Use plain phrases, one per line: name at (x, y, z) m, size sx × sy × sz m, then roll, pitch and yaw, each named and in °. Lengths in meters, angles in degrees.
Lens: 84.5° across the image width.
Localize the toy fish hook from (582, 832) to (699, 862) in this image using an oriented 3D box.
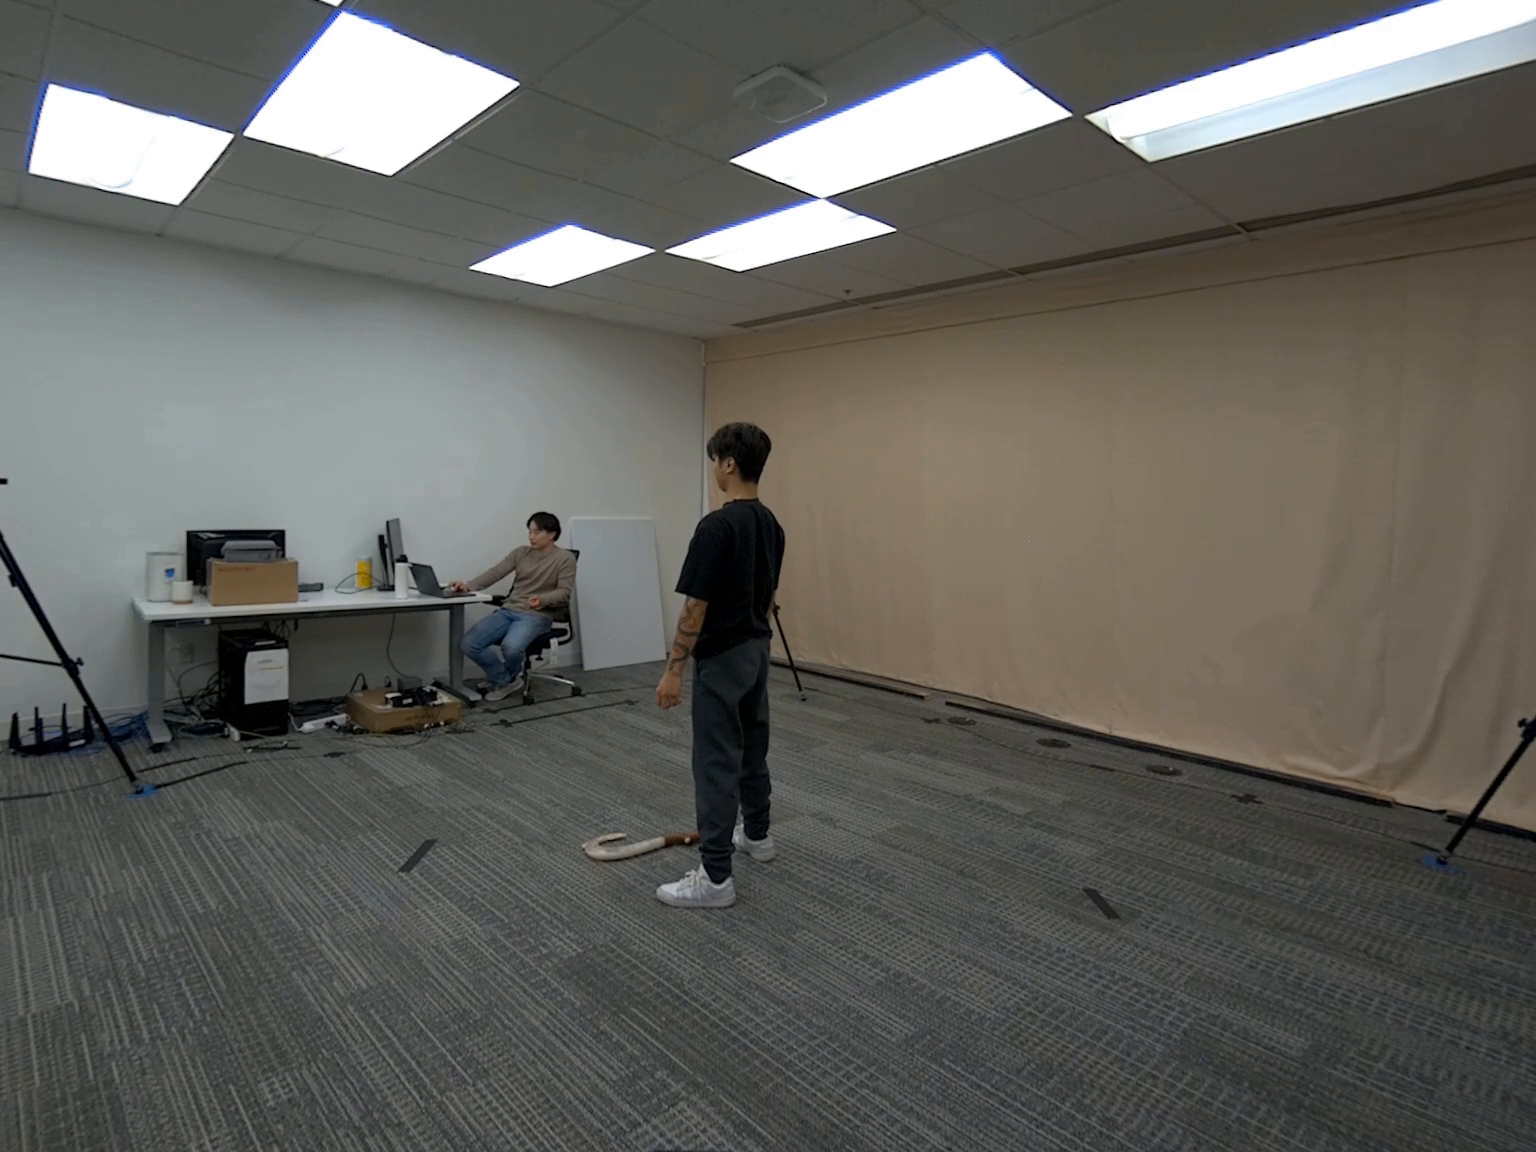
toy fish hook at (-0.491, 1.051, 3.364) m, size 0.497 × 0.048 × 0.230 m, roll -1°, pitch 7°, yaw -26°
